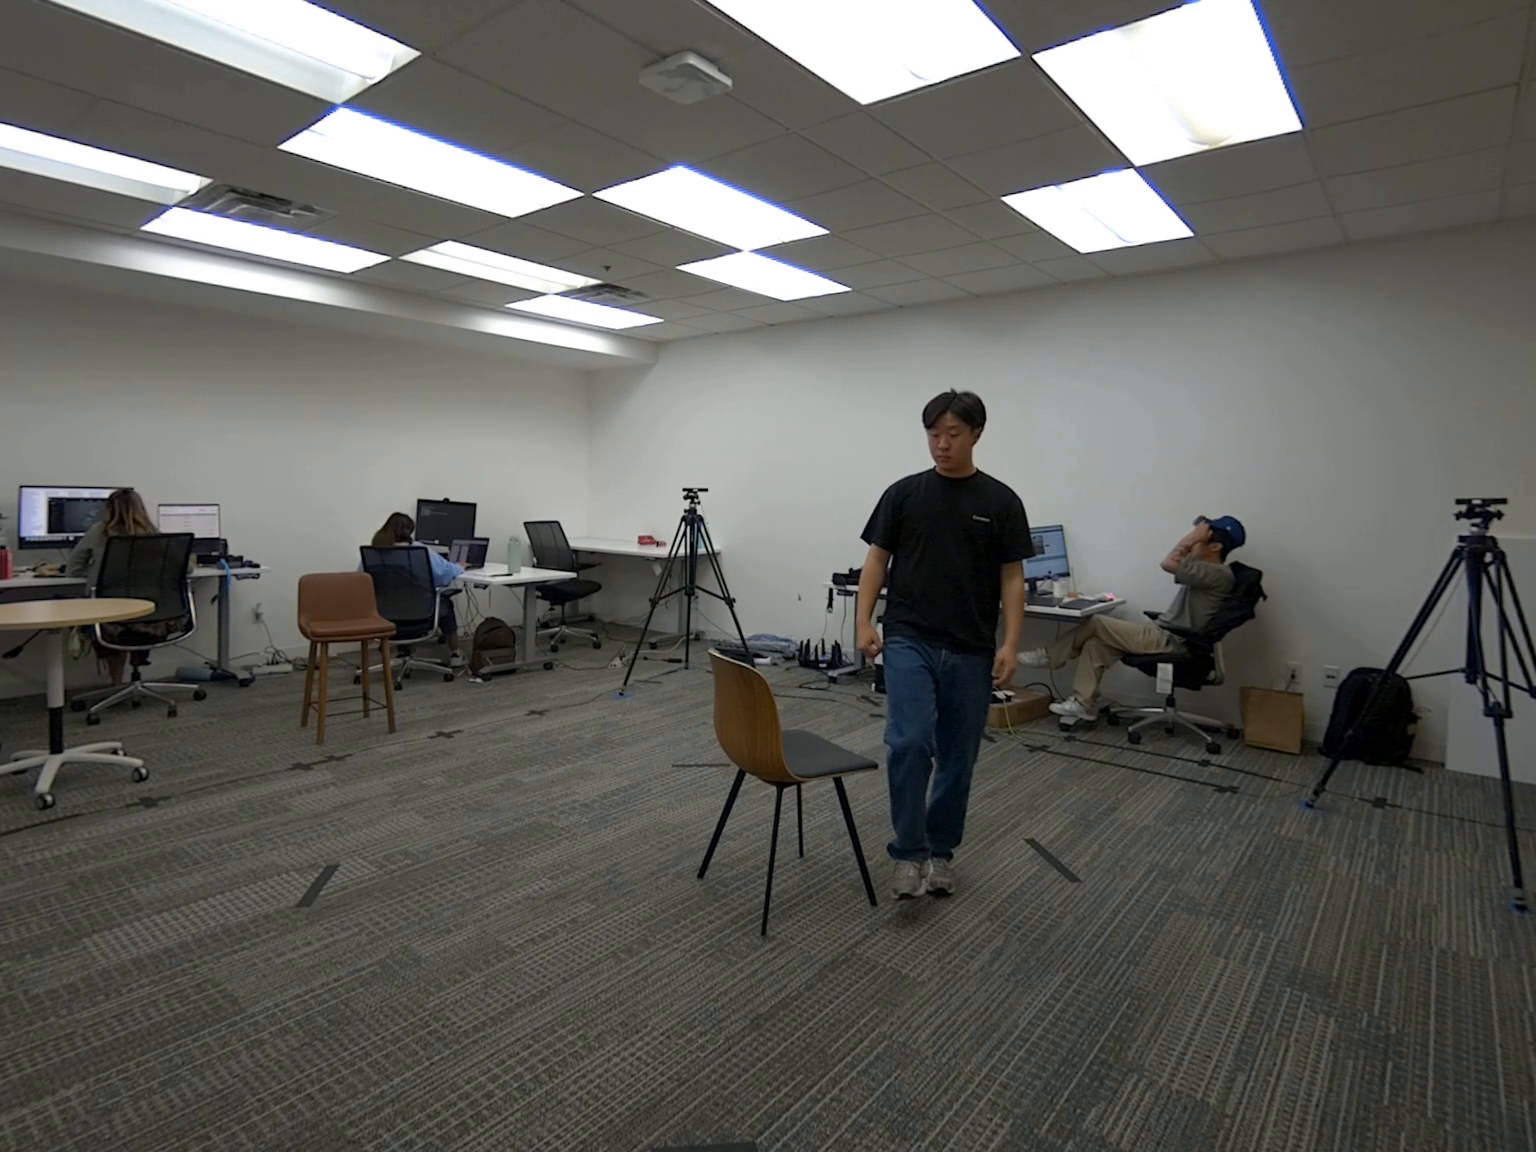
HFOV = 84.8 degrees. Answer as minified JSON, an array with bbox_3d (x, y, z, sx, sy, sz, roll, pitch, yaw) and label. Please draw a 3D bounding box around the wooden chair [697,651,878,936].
[{"bbox_3d":[0.065,0.664,2.928,0.510,0.873,0.493,-5,6,-30],"label":"wooden chair"}]
